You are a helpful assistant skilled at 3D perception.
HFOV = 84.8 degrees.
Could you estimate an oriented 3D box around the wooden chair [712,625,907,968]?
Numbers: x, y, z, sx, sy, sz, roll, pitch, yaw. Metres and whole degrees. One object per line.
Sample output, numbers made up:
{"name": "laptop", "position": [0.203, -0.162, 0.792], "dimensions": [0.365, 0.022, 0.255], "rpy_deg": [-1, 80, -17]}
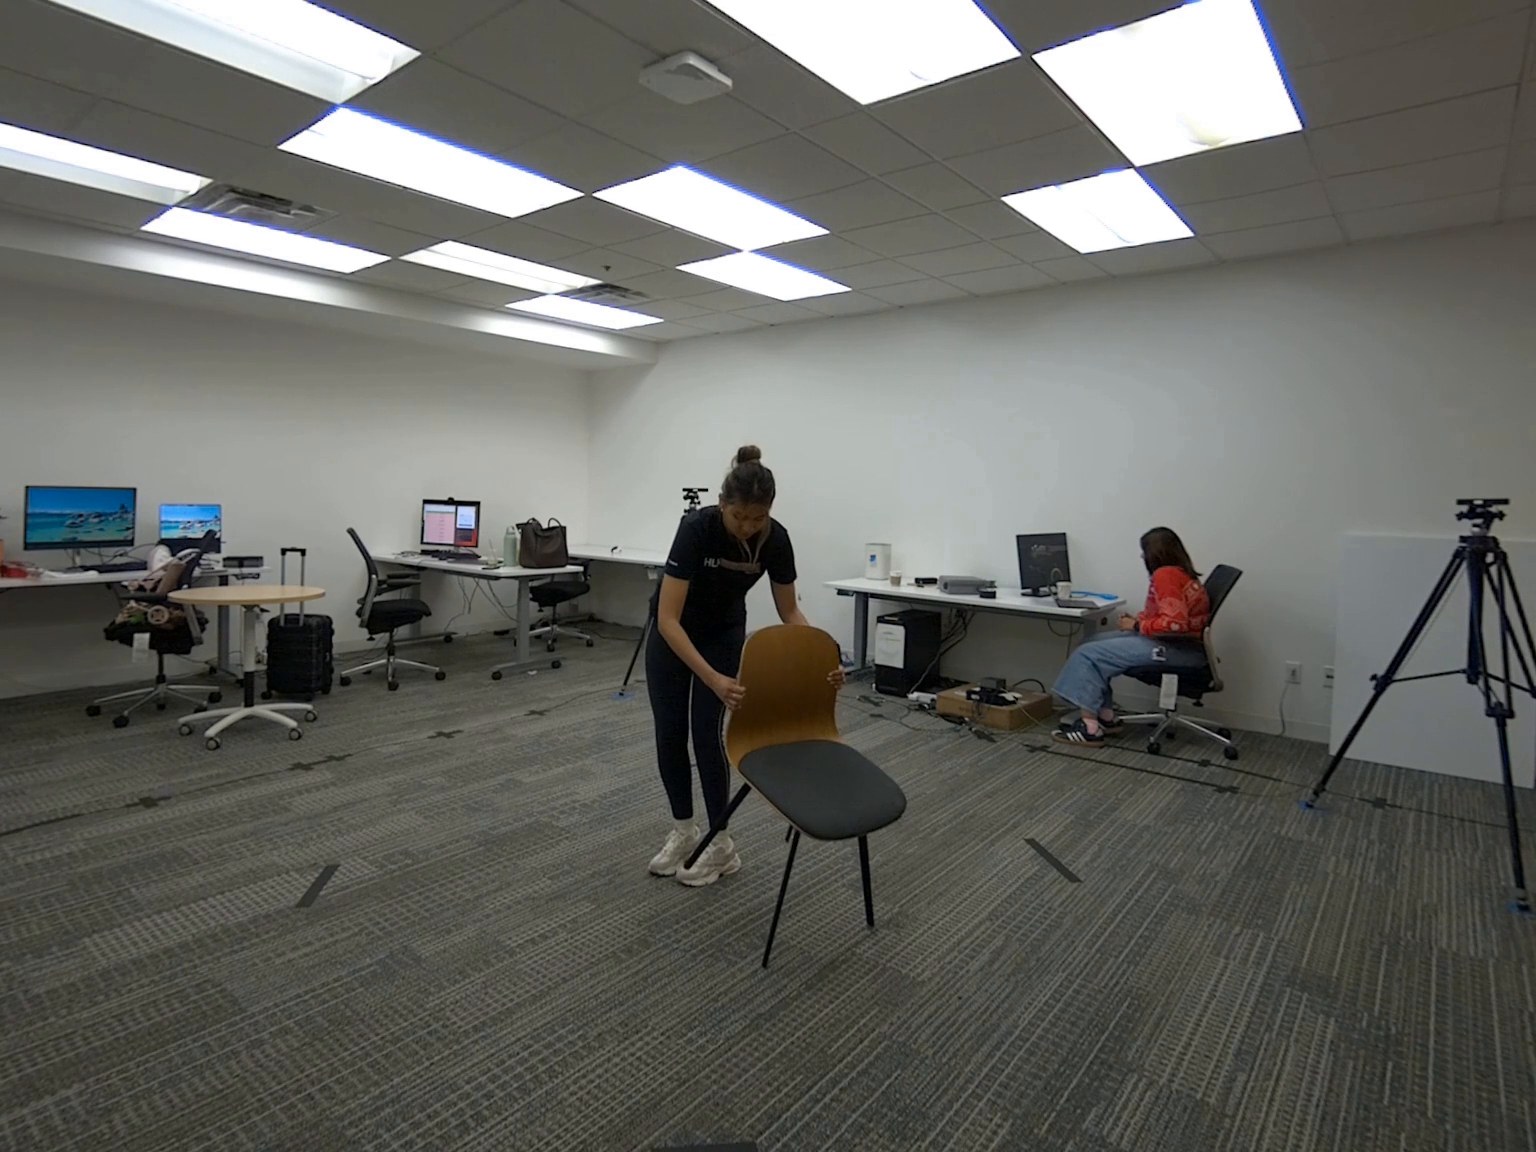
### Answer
{"name": "wooden chair", "position": [0.119, 0.649, 2.643], "dimensions": [0.464, 0.868, 0.544], "rpy_deg": [0, 17, -37]}
